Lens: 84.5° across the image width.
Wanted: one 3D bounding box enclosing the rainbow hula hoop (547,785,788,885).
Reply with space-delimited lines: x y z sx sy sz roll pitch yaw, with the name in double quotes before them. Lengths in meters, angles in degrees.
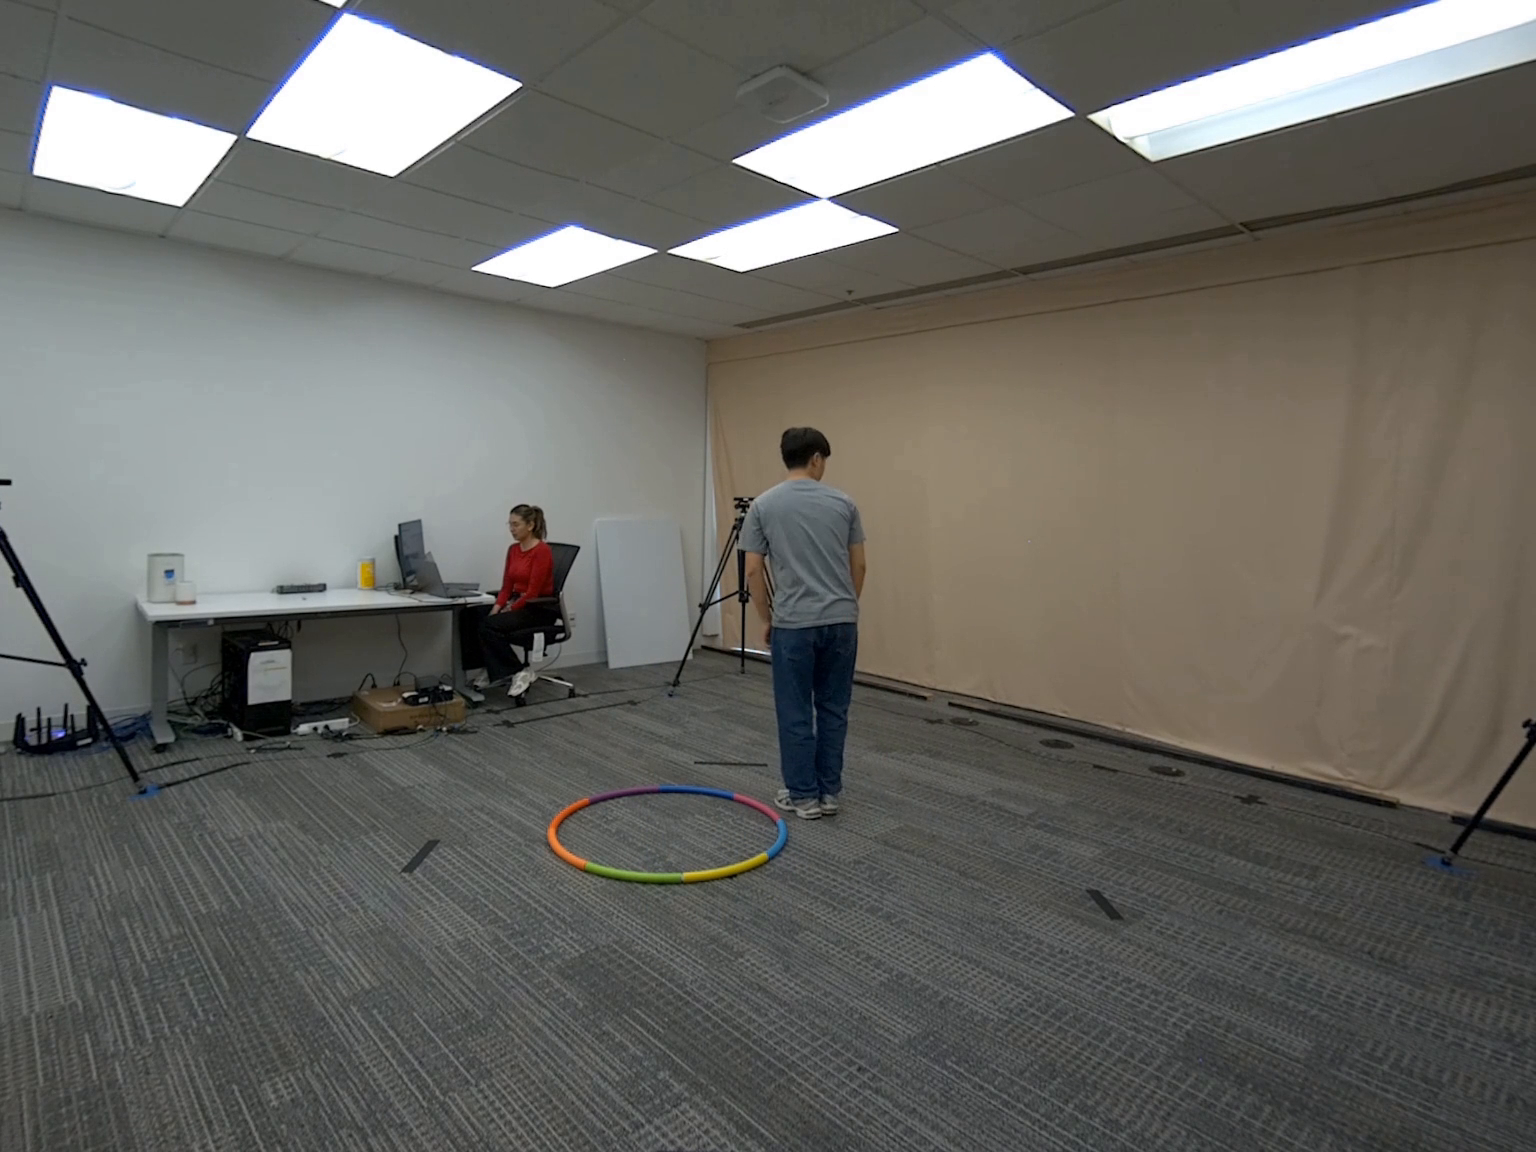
"rainbow hula hoop" -0.425 1.037 3.506 0.978 0.035 0.982 2 5 -1
